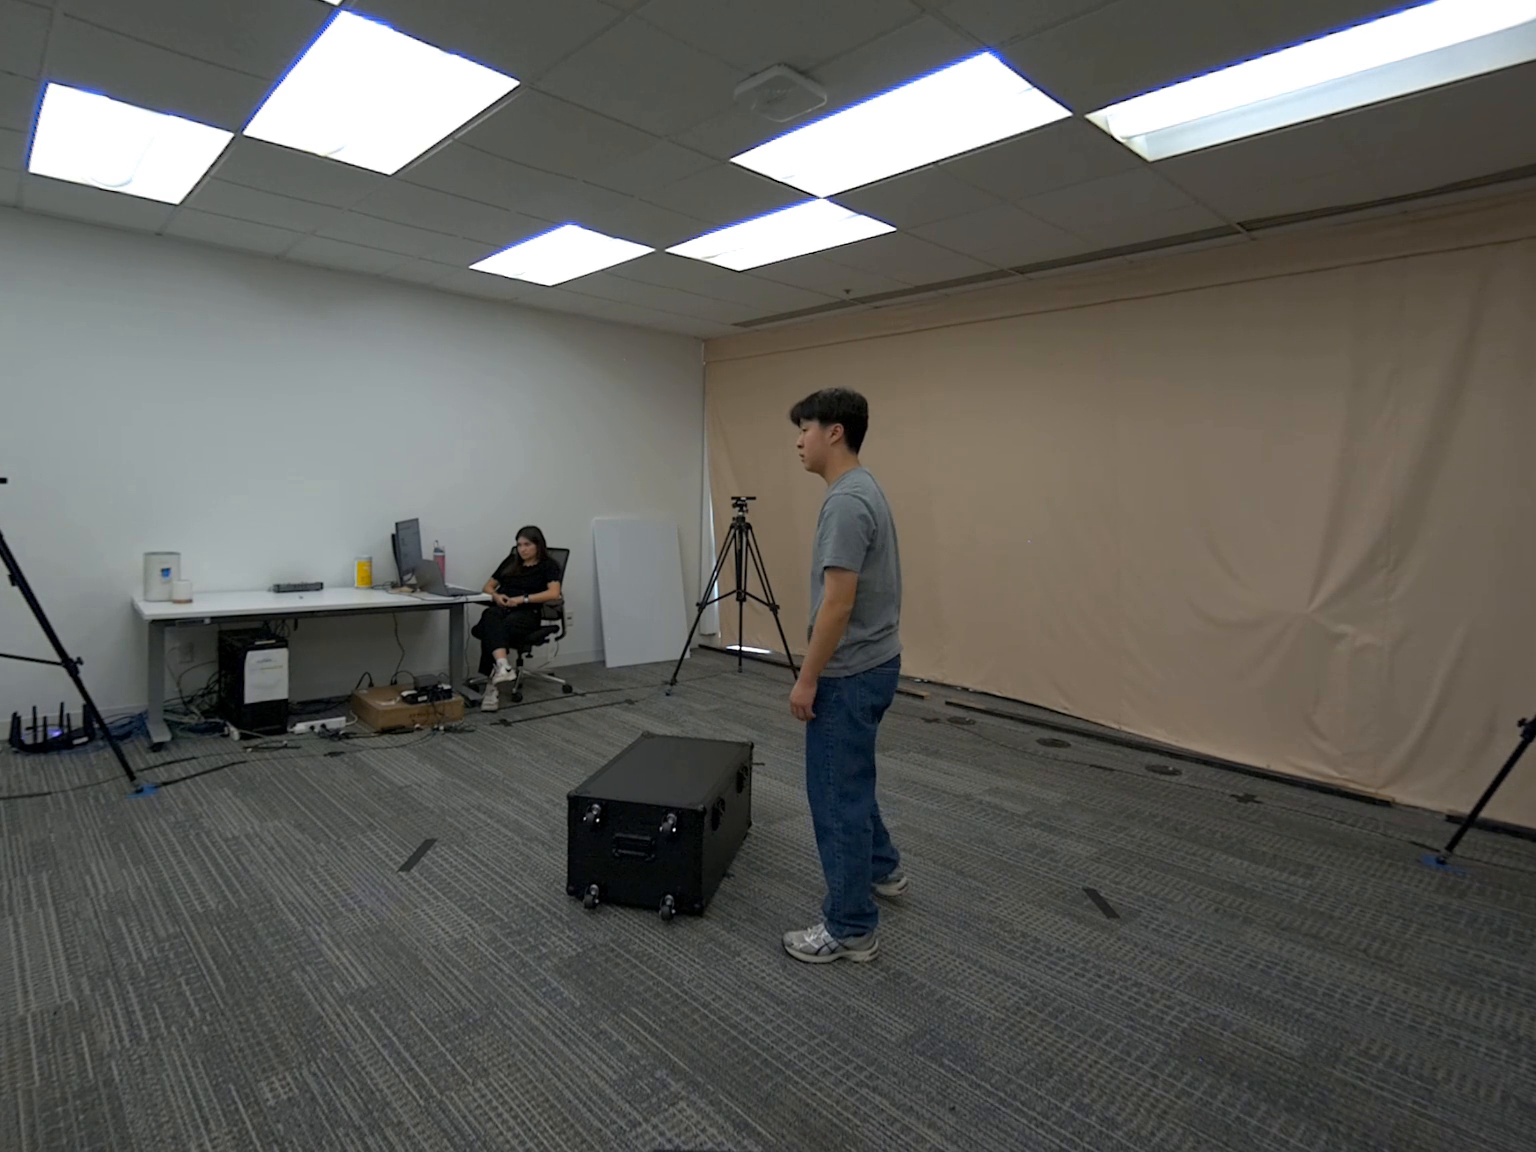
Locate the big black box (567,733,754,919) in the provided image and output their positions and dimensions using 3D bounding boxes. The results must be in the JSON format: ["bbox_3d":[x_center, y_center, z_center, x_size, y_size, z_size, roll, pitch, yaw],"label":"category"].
[{"bbox_3d":[-0.387,0.904,3.156,0.527,0.395,0.855,3,5,12],"label":"big black box"}]
